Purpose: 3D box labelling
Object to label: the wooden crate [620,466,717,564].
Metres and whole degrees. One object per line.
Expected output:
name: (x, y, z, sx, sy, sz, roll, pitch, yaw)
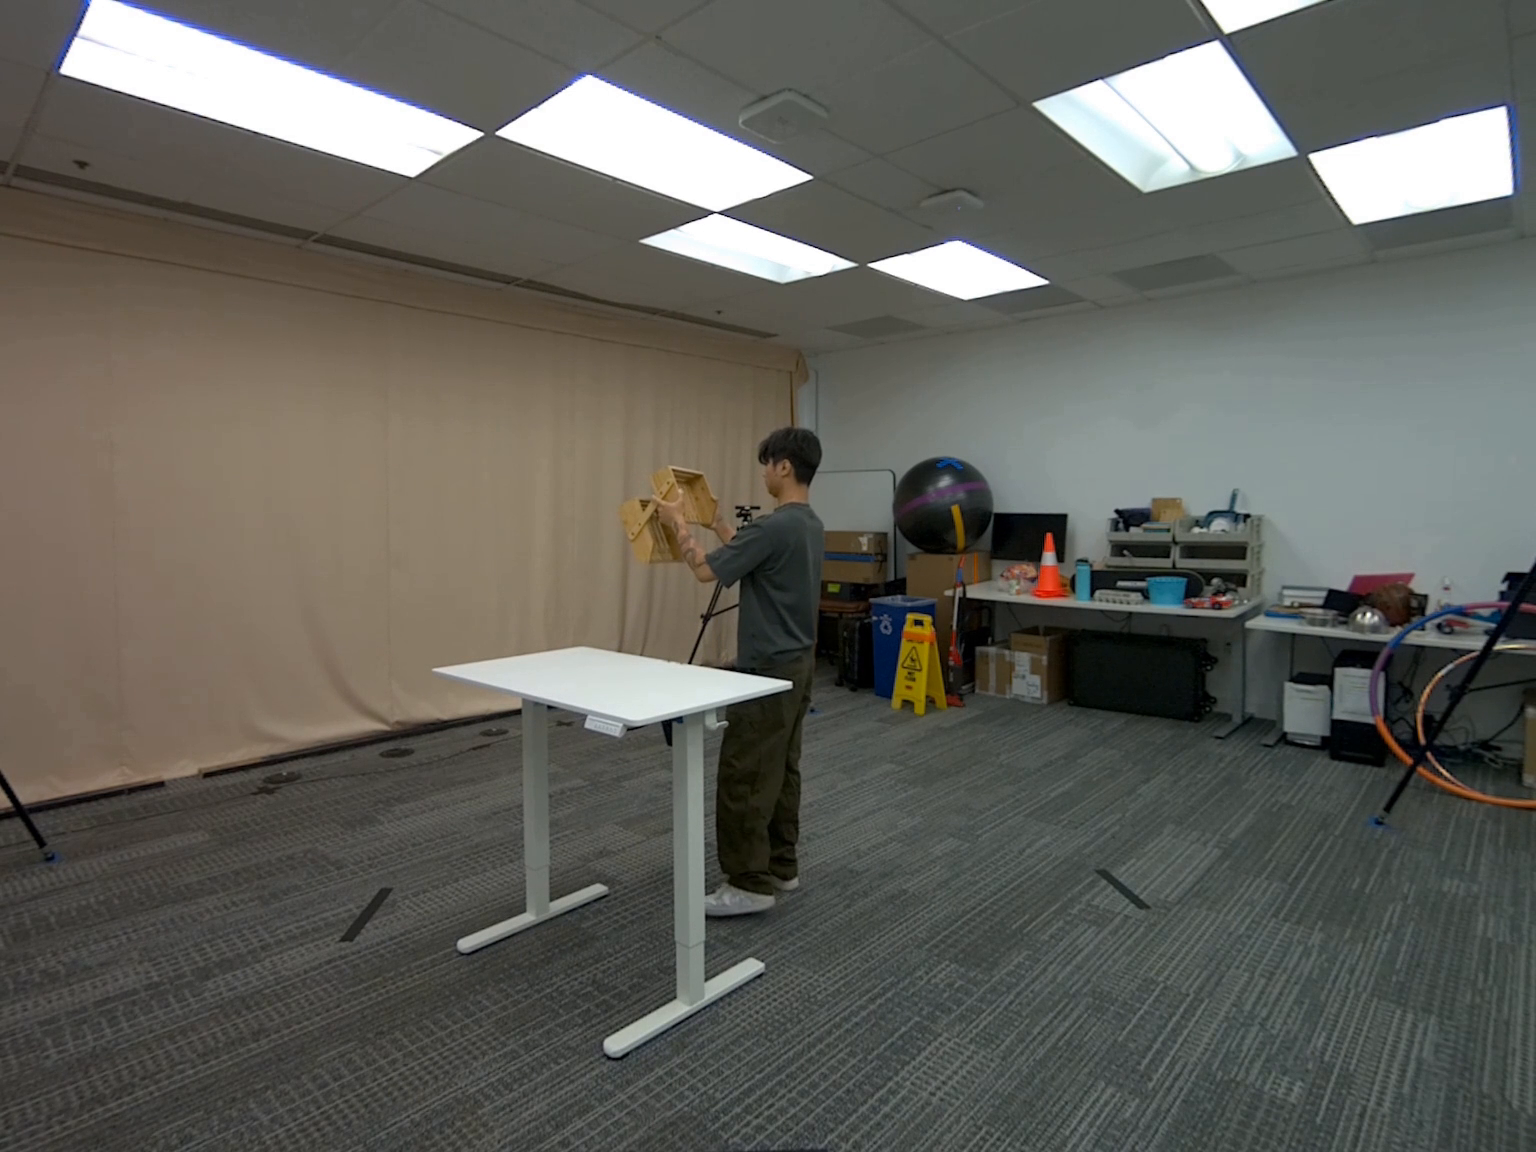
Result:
wooden crate: (-0.363, -0.222, 3.253, 0.277, 0.305, 0.317, -25, -8, 20)
